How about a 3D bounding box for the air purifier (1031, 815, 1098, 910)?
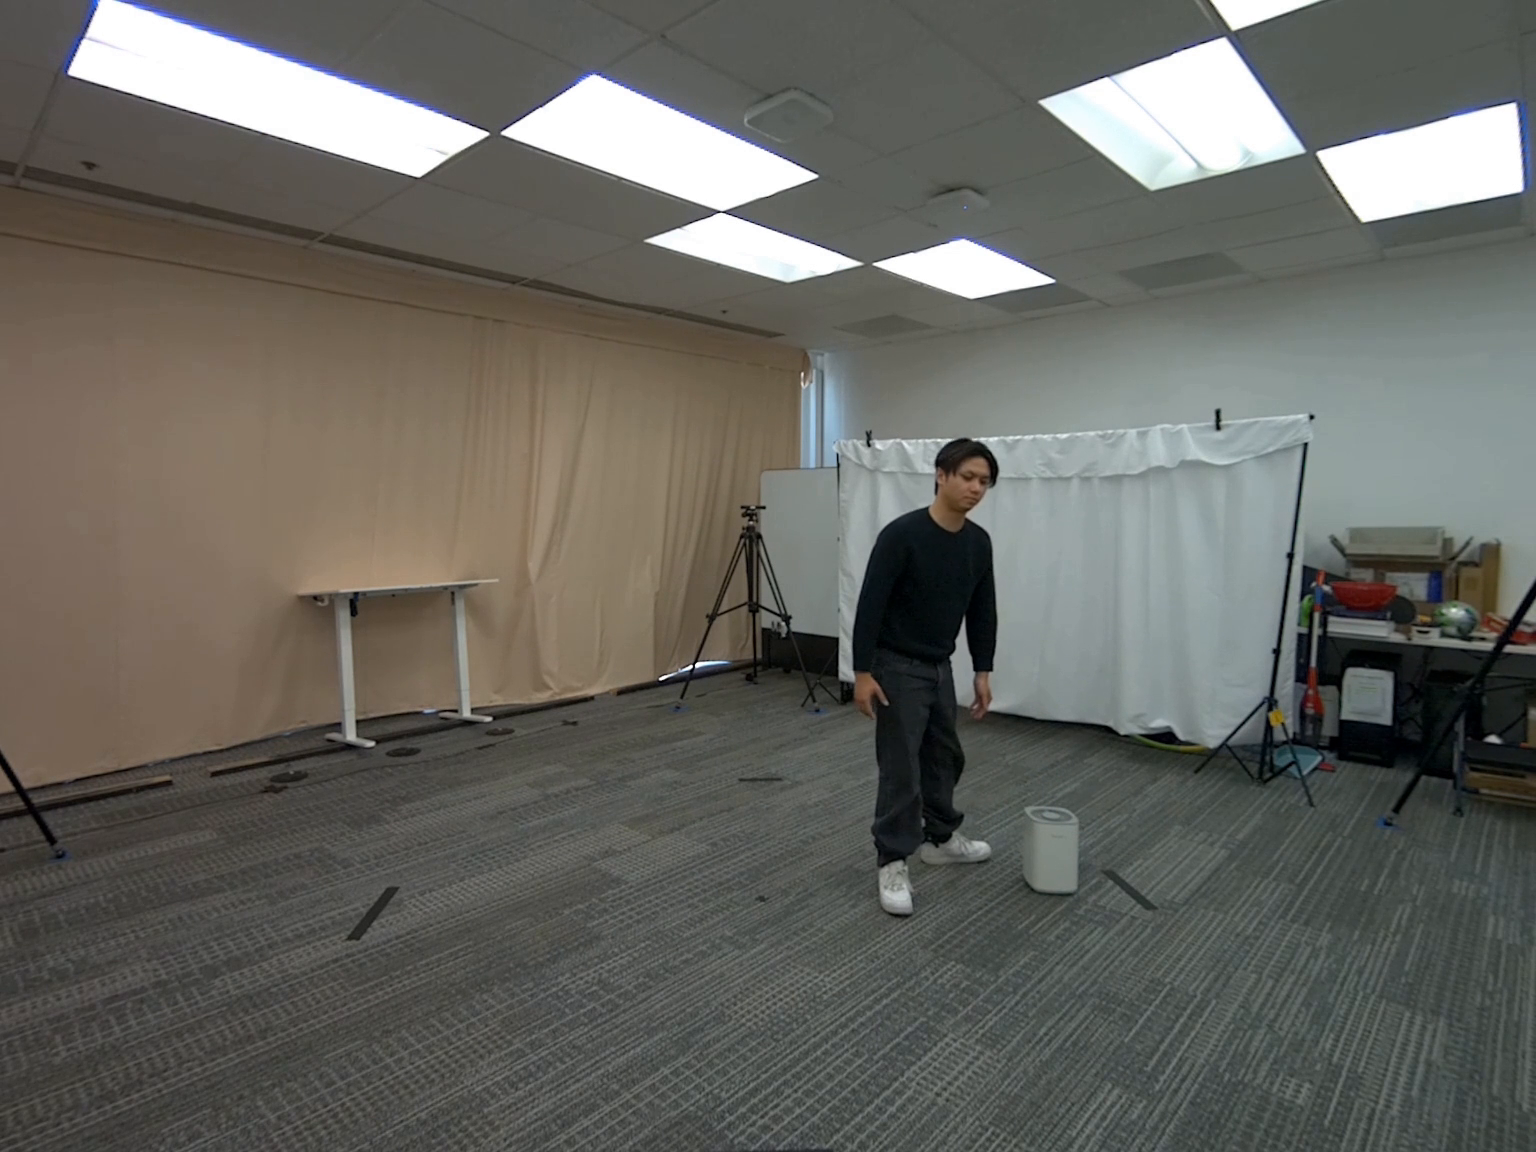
[{"bbox_3d":[1.060,1.023,3.046,0.172,0.265,0.171,1,3,3],"label":"air purifier"}]
